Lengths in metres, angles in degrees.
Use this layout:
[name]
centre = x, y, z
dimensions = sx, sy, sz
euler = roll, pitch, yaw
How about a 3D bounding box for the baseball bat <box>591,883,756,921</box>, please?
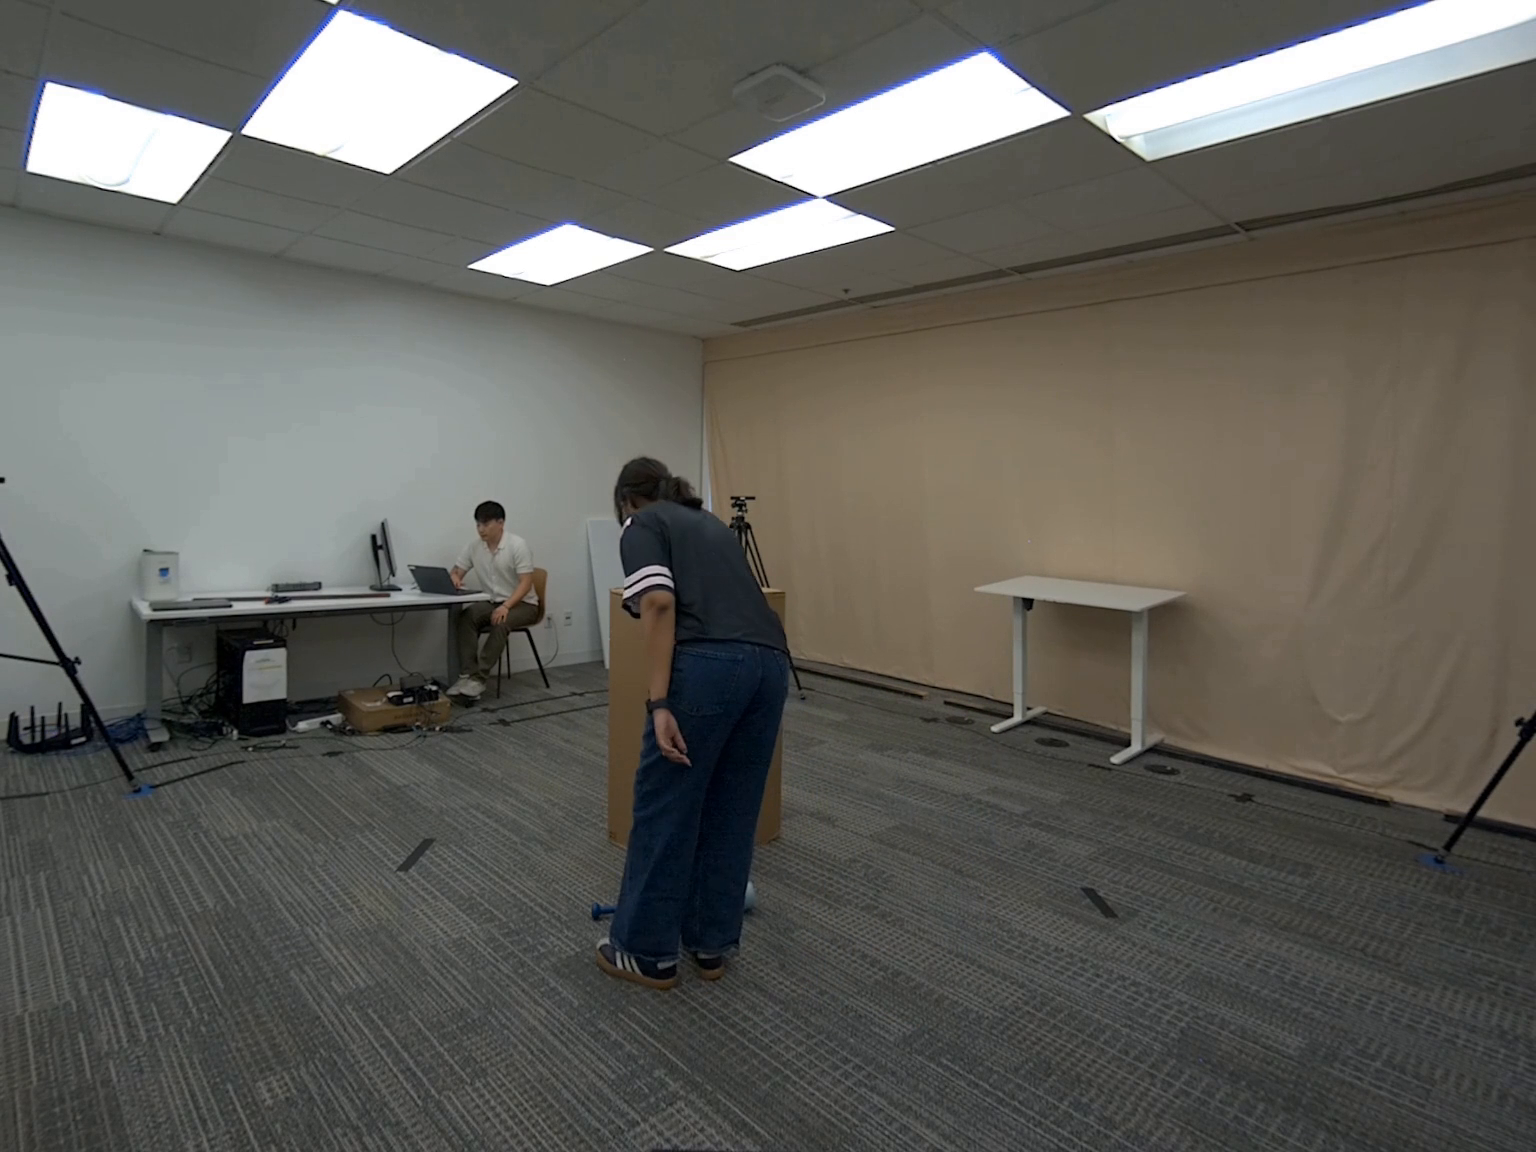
[baseball bat]
centre = -0.323, 1.097, 2.802
dimensions = 0.540, 0.089, 0.090
euler = -2, 5, -8
